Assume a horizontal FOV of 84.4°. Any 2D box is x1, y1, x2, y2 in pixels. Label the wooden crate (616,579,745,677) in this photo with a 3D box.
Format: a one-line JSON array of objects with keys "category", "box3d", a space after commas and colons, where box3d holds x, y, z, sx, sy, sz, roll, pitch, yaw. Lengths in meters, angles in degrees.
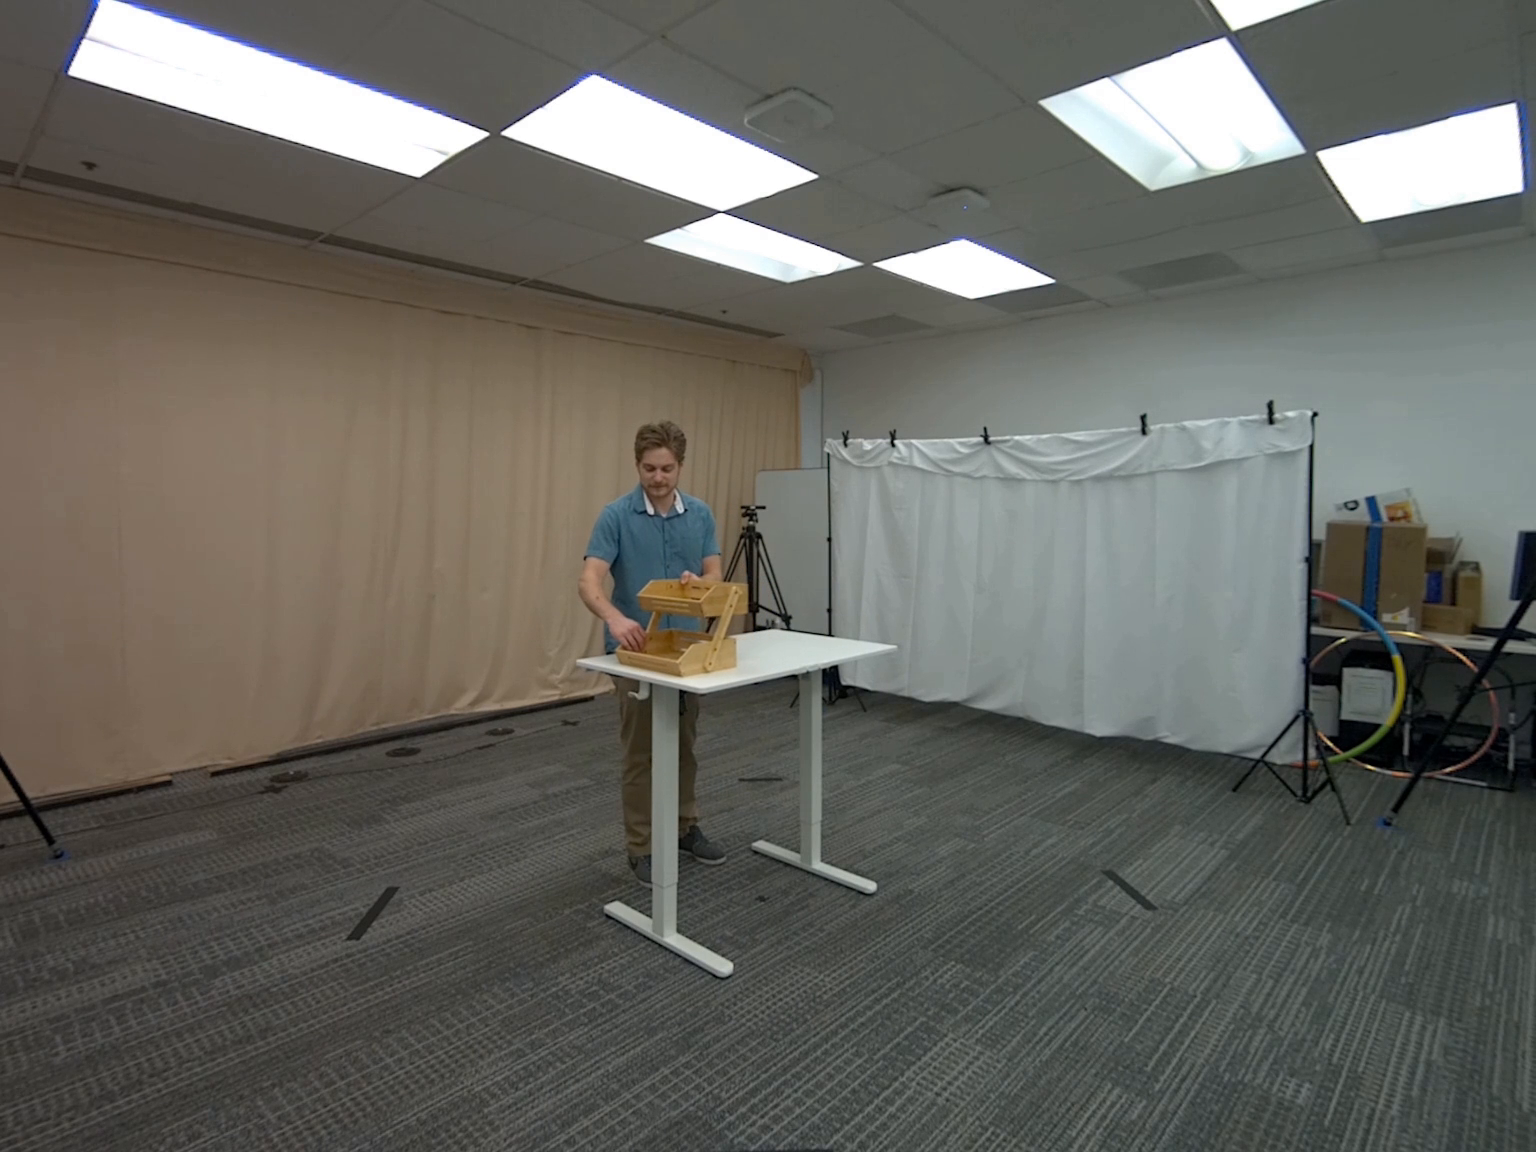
[{"category": "wooden crate", "box3d": [-0.275, 0.153, 2.685, 0.335, 0.273, 0.293, 3, 4, 42]}]
